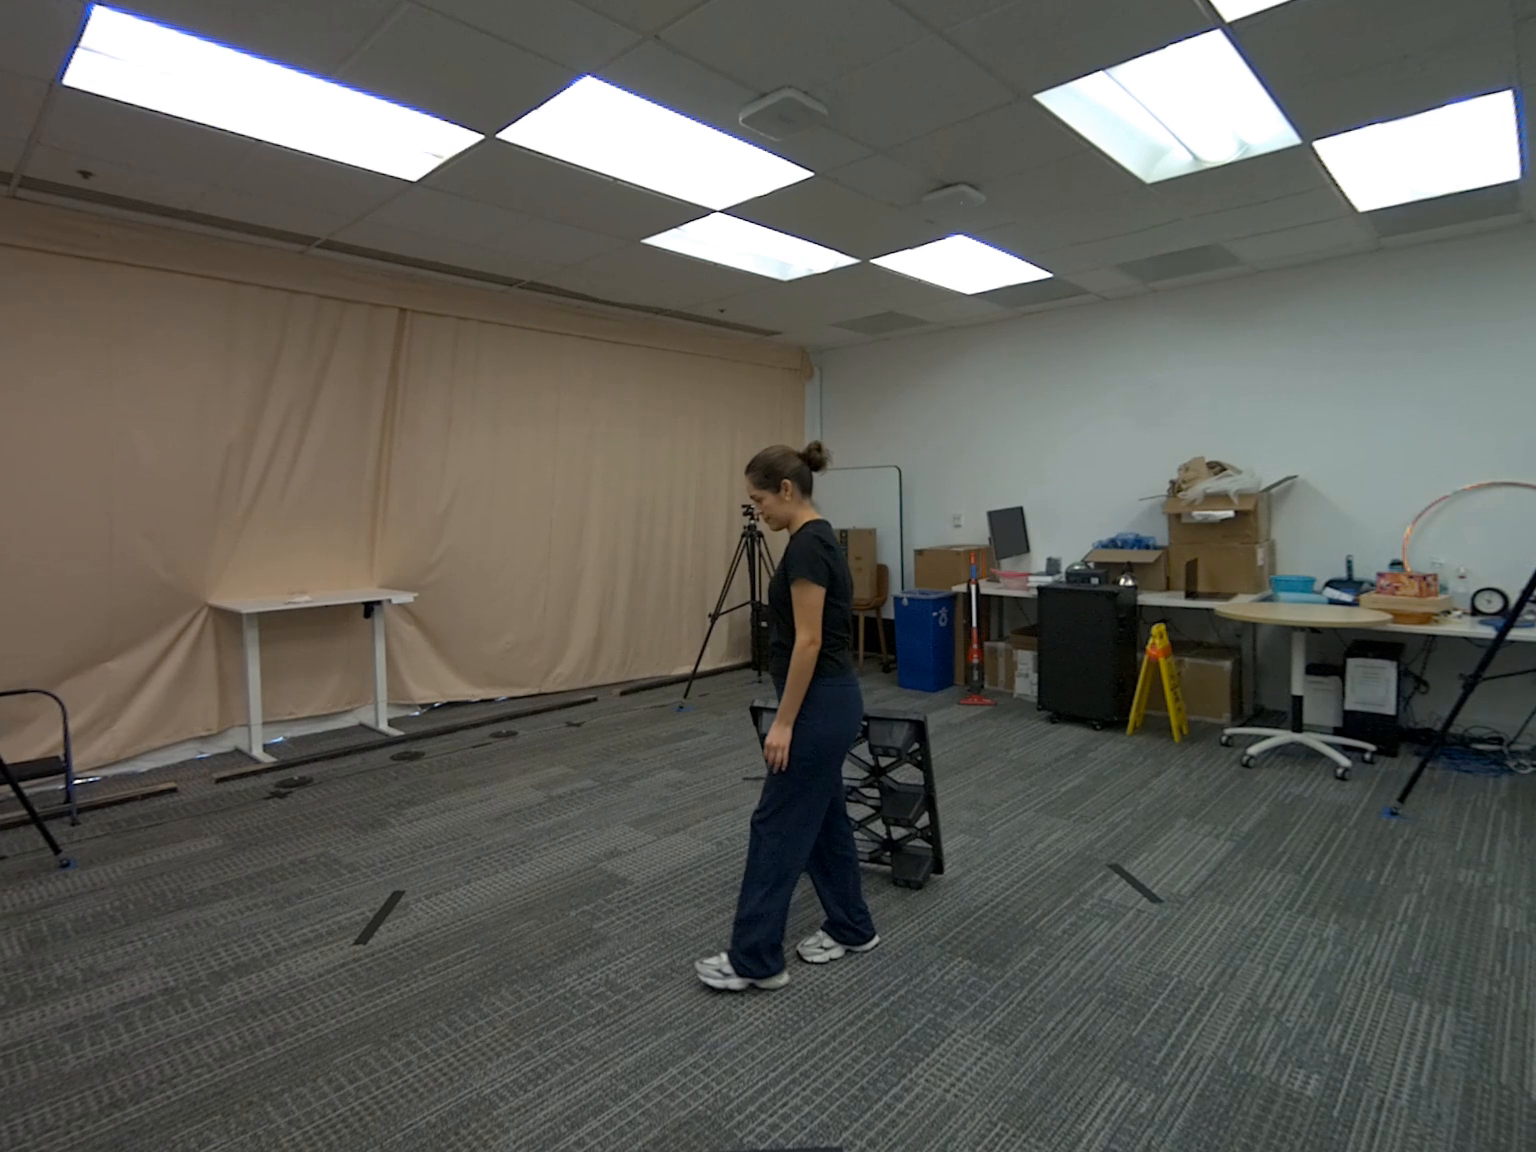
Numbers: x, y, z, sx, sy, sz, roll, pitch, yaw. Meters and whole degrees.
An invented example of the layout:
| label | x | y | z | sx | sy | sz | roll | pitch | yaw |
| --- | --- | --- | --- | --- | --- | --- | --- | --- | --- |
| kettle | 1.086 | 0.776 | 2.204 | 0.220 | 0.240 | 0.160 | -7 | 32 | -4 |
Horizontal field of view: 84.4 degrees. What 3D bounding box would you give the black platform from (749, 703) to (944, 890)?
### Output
| label | x | y | z | sx | sy | sz | roll | pitch | yaw |
| --- | --- | --- | --- | --- | --- | --- | --- | --- | --- |
| black platform | 0.293 | 0.786 | 2.966 | 0.619 | 0.787 | 0.143 | 1 | 35 | 22 |
